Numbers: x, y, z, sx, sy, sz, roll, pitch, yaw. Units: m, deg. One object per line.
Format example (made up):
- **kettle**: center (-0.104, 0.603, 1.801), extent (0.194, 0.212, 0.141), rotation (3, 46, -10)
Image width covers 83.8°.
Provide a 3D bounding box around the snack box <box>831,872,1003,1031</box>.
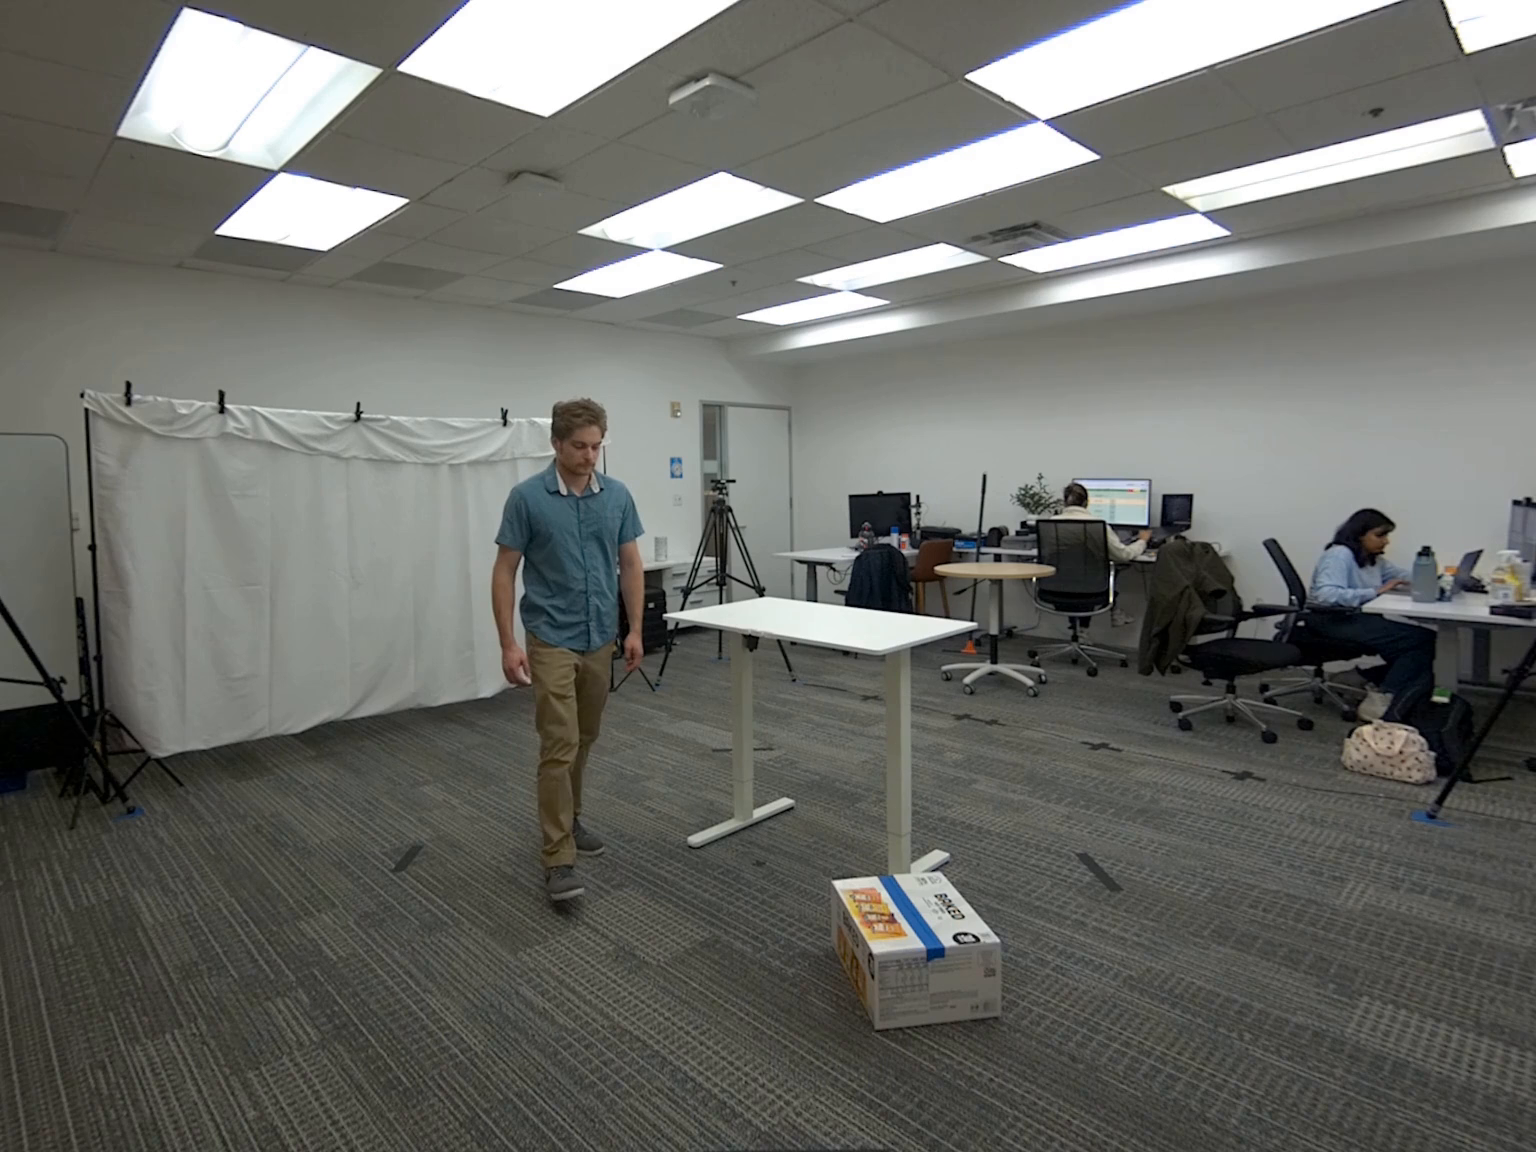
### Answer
- **snack box**: center (0.400, 1.024, 2.366), extent (0.337, 0.205, 0.410), rotation (-2, 6, -10)
